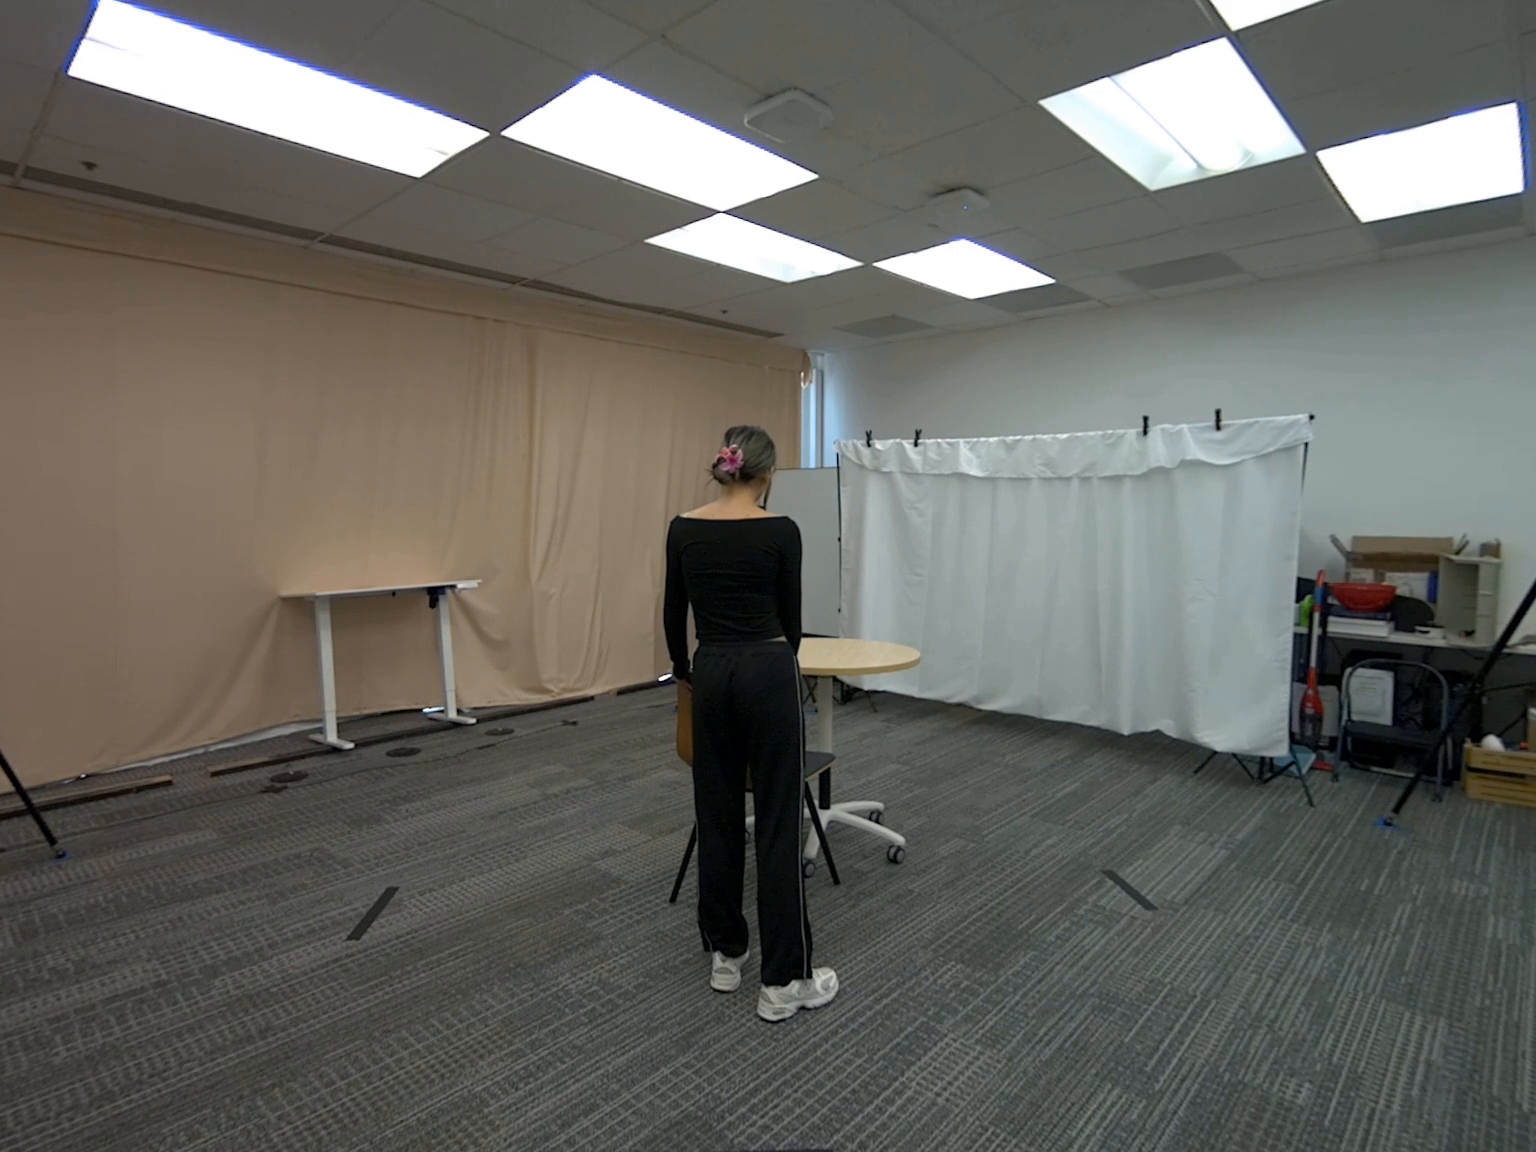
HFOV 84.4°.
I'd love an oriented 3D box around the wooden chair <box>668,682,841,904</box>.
[{"bbox_3d":[-0.038,0.714,3.000,0.492,0.873,0.510,2,8,32],"label":"wooden chair"}]
